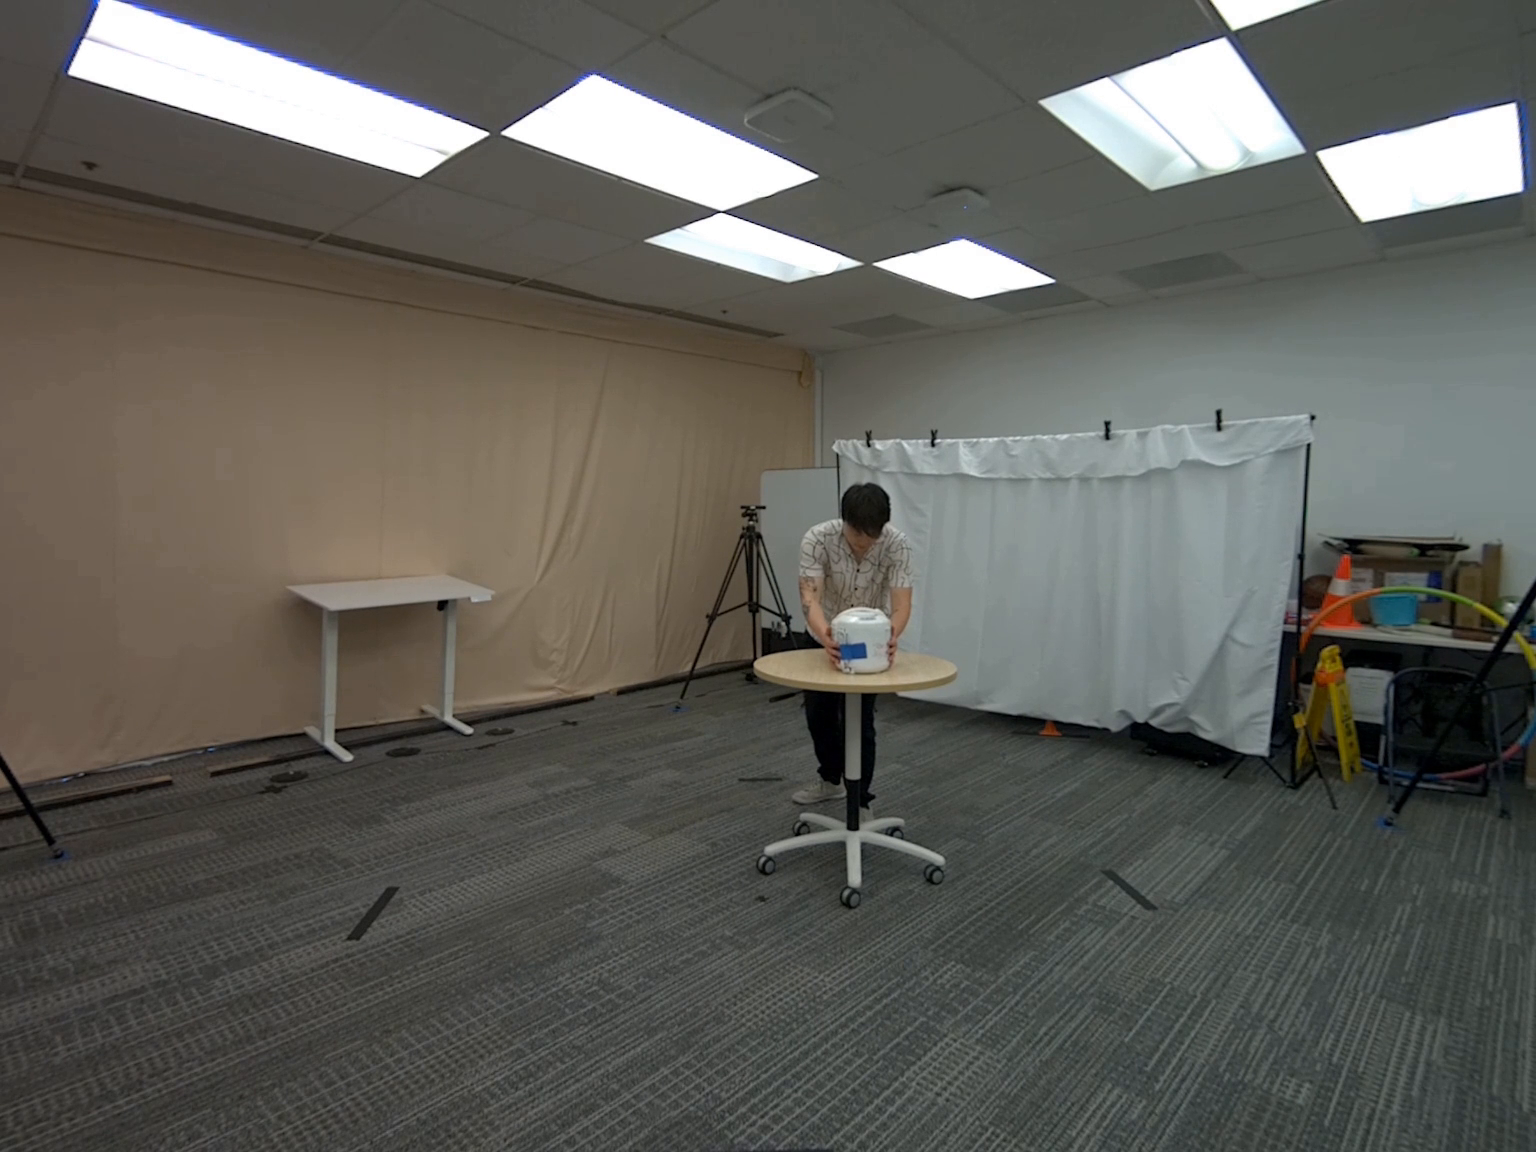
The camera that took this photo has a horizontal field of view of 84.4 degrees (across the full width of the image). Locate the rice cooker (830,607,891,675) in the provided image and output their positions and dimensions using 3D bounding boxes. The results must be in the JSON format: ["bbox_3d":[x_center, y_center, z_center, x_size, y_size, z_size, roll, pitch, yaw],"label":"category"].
[{"bbox_3d":[0.341,0.232,3.119,0.220,0.232,0.219,1,4,-4],"label":"rice cooker"}]
